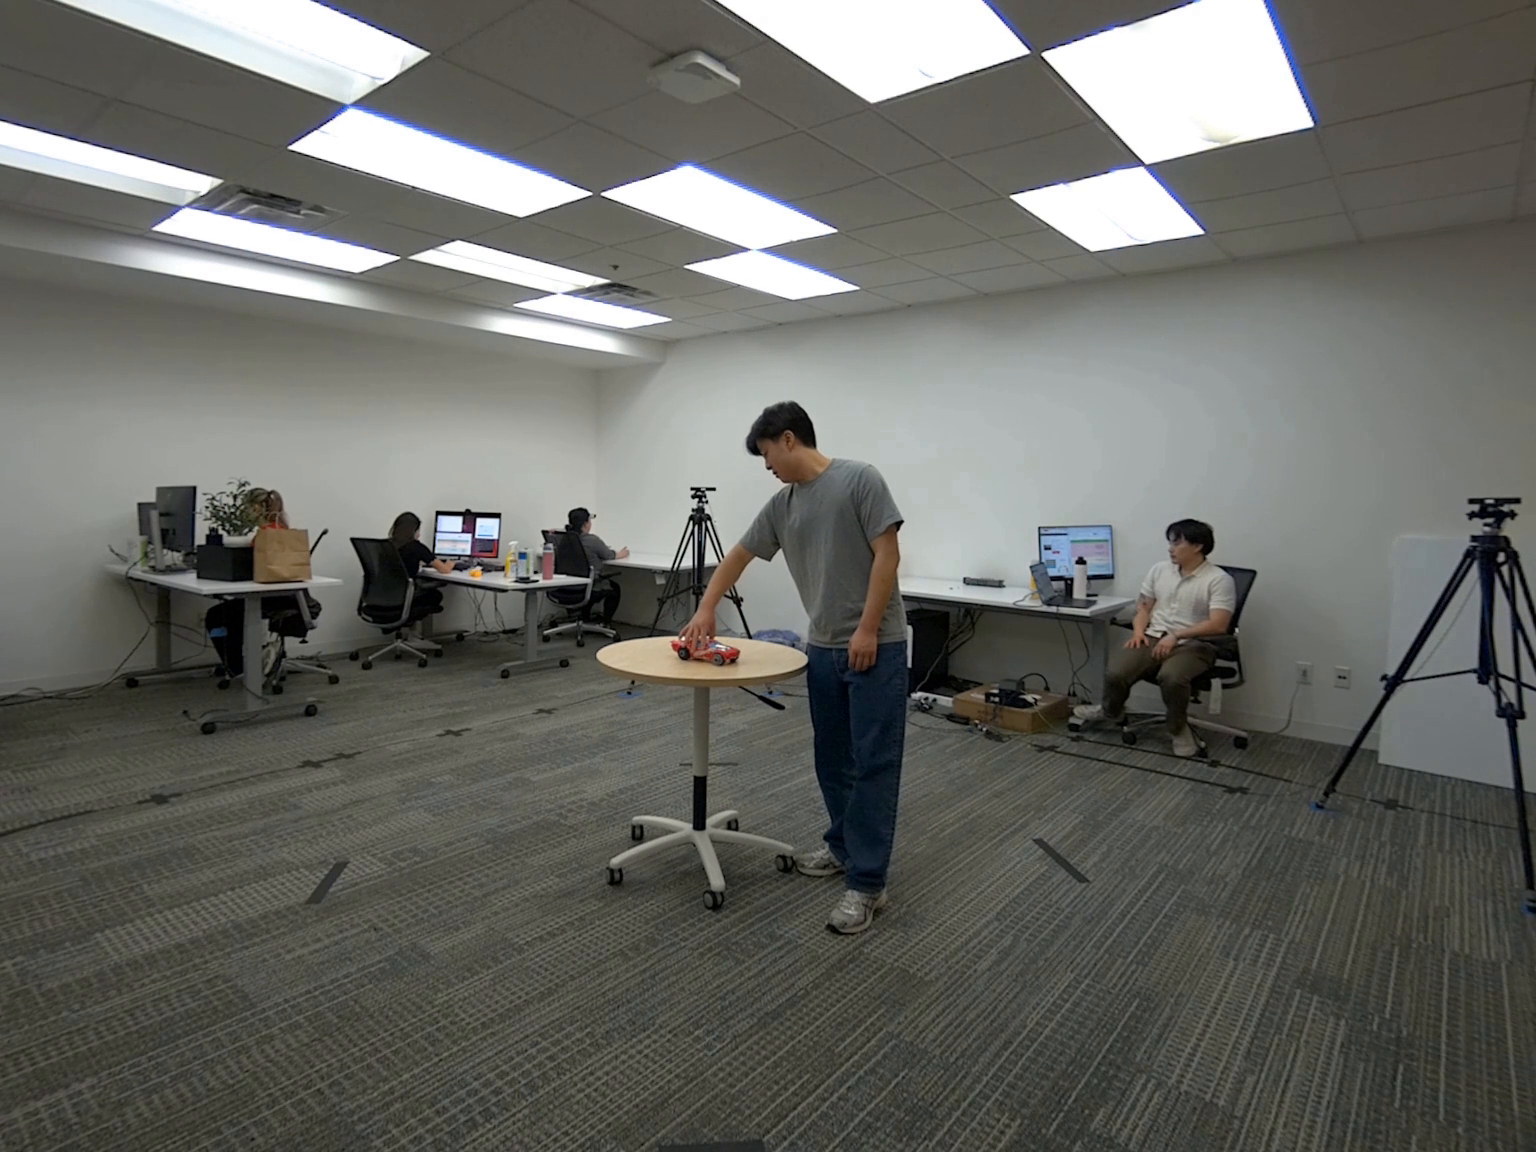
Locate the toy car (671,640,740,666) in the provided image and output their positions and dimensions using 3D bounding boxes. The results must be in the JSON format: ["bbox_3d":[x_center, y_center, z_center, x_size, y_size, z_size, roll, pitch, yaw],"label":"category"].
[{"bbox_3d":[-0.242,0.262,3.016,0.263,0.082,0.127,18,13,30],"label":"toy car"}]
